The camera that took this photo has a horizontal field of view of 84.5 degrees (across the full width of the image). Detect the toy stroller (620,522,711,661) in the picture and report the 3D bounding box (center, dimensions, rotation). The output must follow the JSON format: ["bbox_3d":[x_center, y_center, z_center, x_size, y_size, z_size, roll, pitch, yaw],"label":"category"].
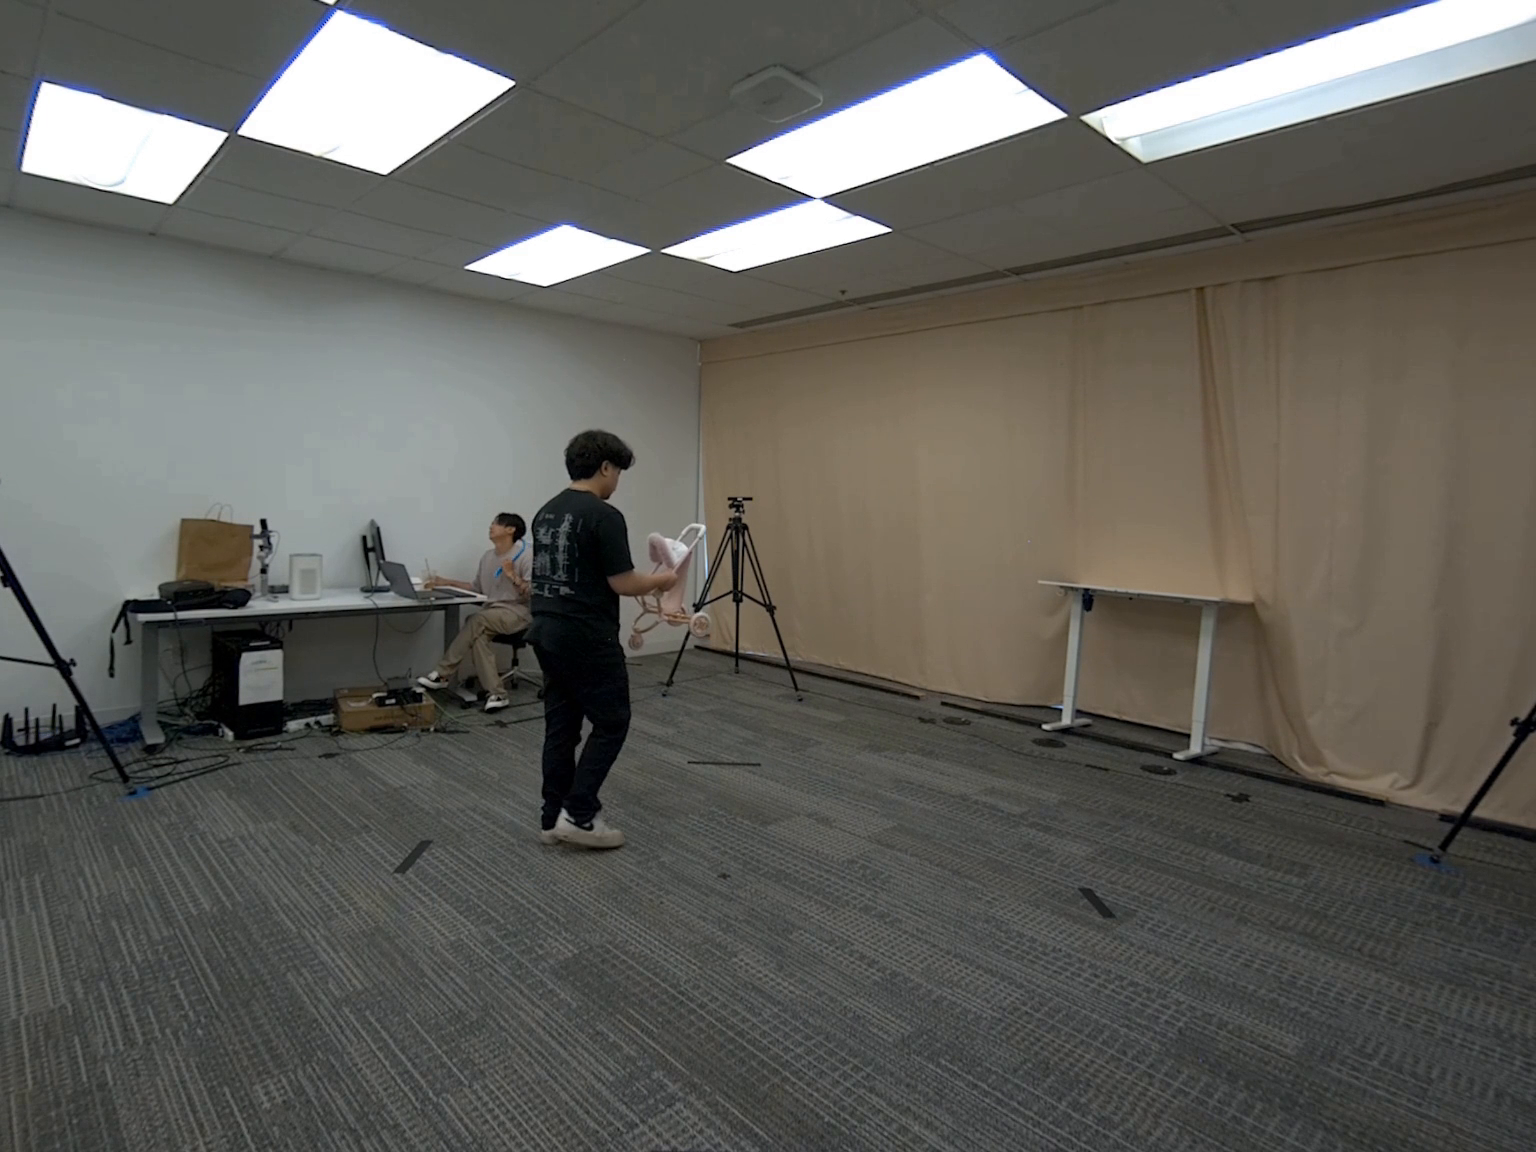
[{"bbox_3d":[-0.460,0.051,3.665,0.336,0.532,0.287,-3,8,-23],"label":"toy stroller"}]
